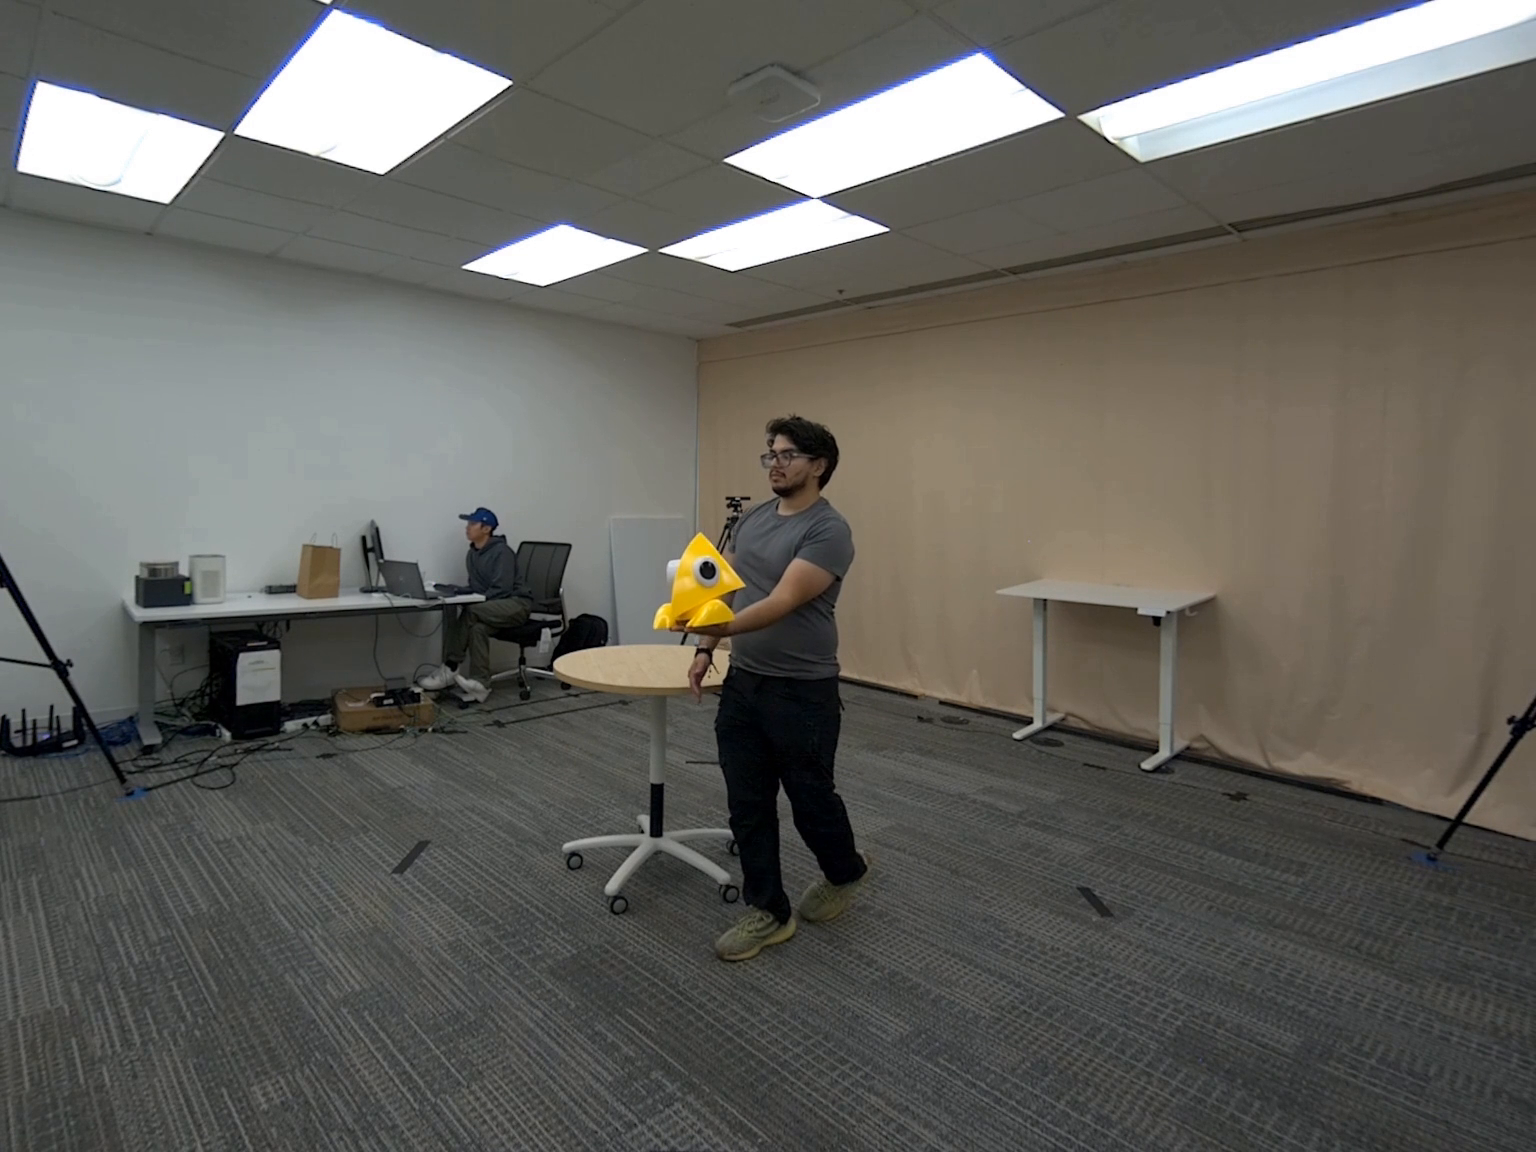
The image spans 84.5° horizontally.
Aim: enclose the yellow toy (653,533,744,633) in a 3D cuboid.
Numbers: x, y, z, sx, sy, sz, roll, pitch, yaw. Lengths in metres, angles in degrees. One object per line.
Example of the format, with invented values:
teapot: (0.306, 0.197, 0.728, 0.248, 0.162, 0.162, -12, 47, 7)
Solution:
yellow toy: (-0.203, 0.013, 2.138, 0.209, 0.231, 0.189, -7, 0, 35)
